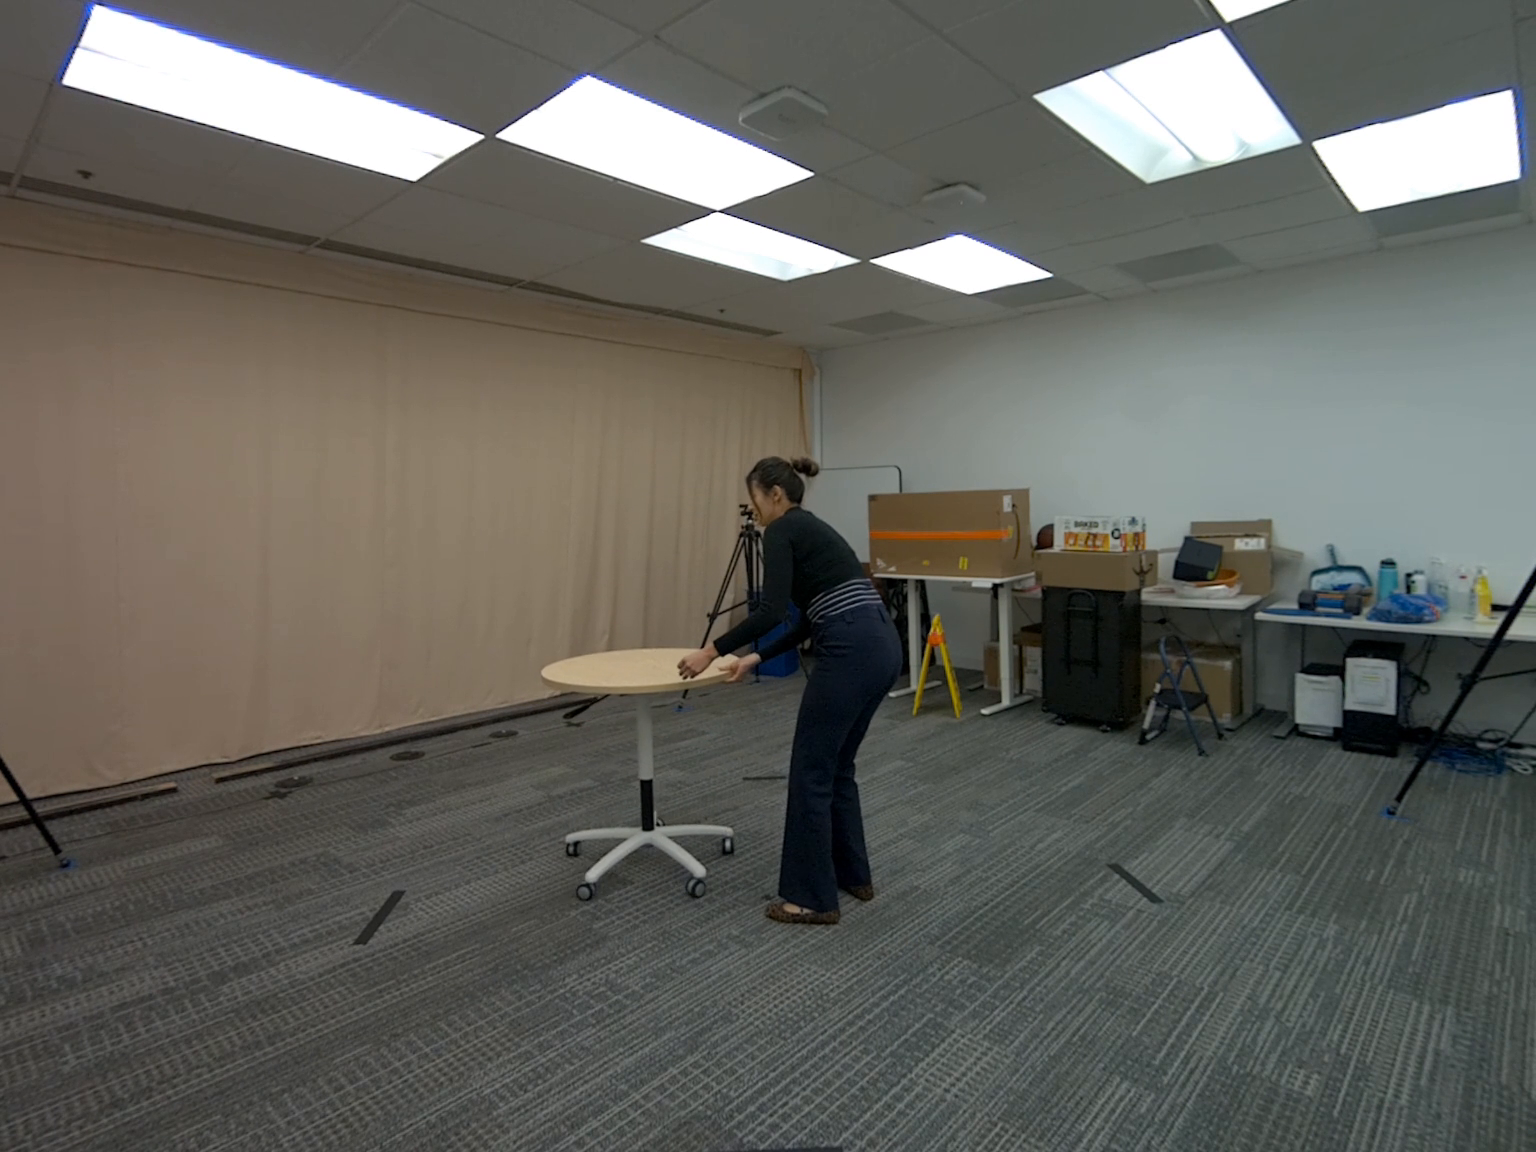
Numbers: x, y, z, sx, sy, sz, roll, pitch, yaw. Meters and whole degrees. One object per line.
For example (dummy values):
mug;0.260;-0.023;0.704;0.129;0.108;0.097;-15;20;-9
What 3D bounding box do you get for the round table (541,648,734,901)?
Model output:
round table;-0.471;0.738;3.259;0.763;0.792;0.766;-2;3;-2
